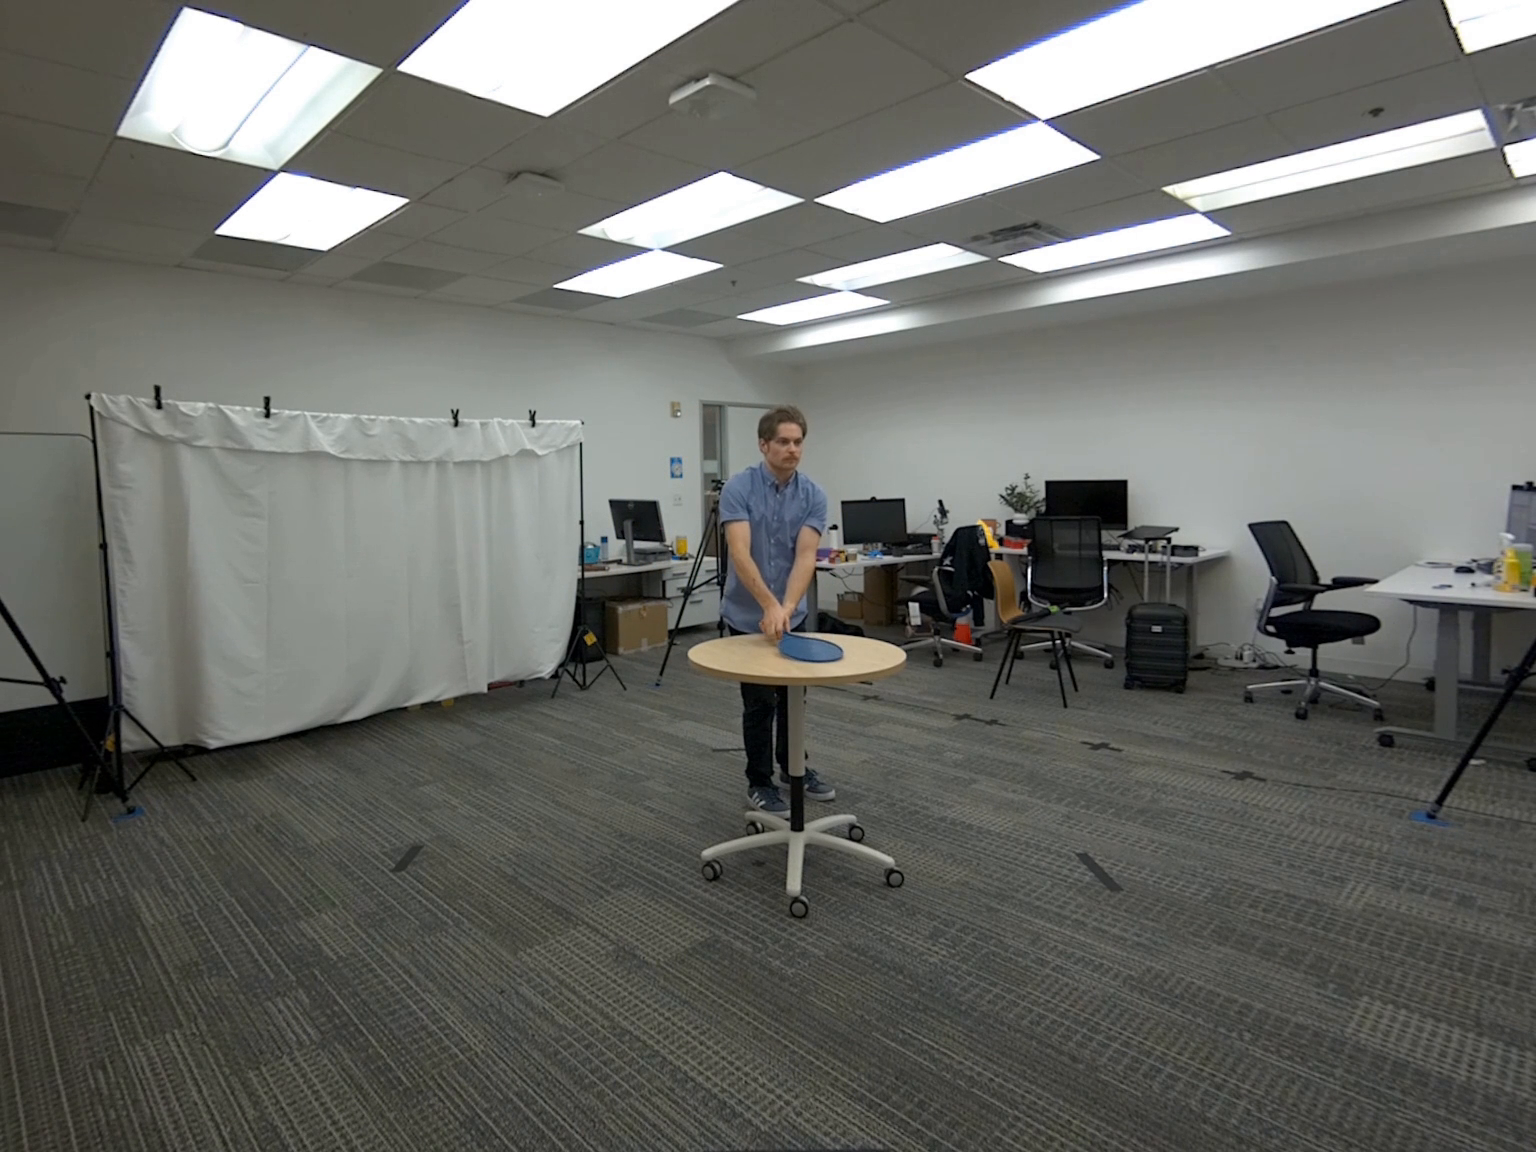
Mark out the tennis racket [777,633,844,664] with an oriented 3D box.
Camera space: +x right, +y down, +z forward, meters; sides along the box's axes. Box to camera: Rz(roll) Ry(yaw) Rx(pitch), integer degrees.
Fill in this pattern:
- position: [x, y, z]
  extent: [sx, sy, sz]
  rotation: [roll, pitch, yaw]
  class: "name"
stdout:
- position: [0.109, 0.248, 3.044]
  extent: [0.209, 0.031, 0.446]
  rotation: [-7, 13, -28]
  class: "tennis racket"
